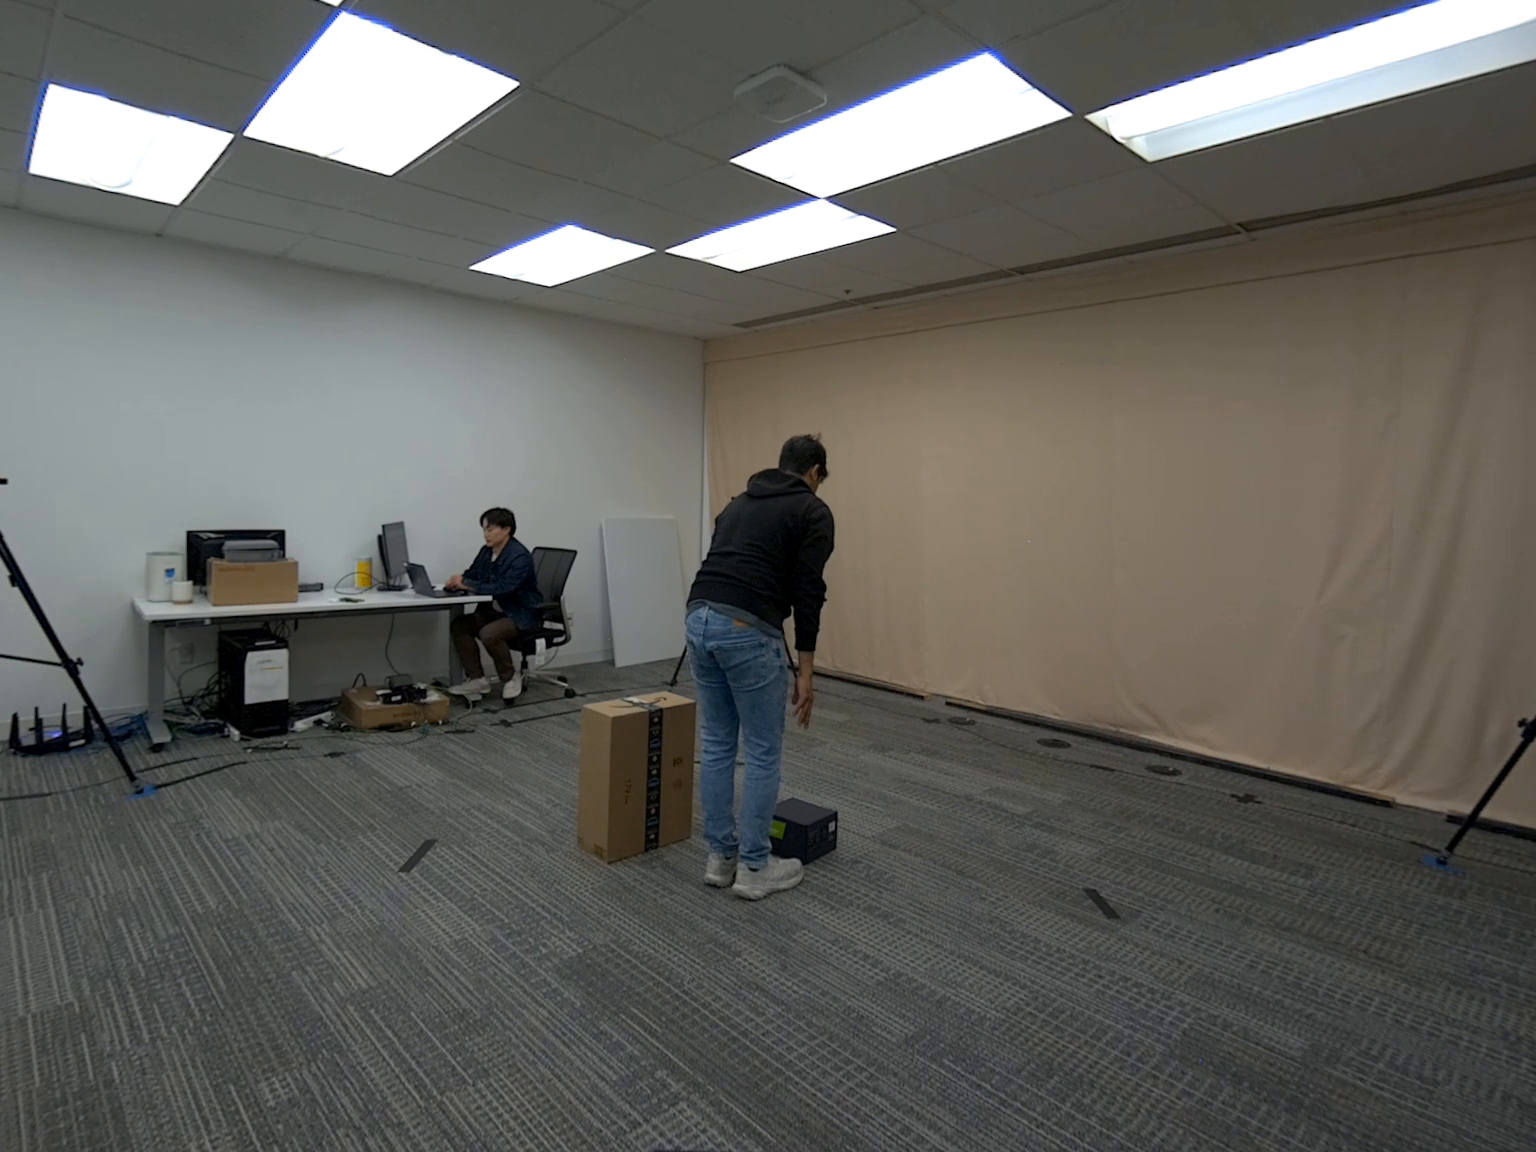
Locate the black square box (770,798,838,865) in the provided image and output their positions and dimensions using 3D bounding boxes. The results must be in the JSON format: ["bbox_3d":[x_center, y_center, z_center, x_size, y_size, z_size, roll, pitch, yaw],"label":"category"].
[{"bbox_3d":[0.115,1.009,3.353,0.233,0.155,0.212,5,6,41],"label":"black square box"}]
